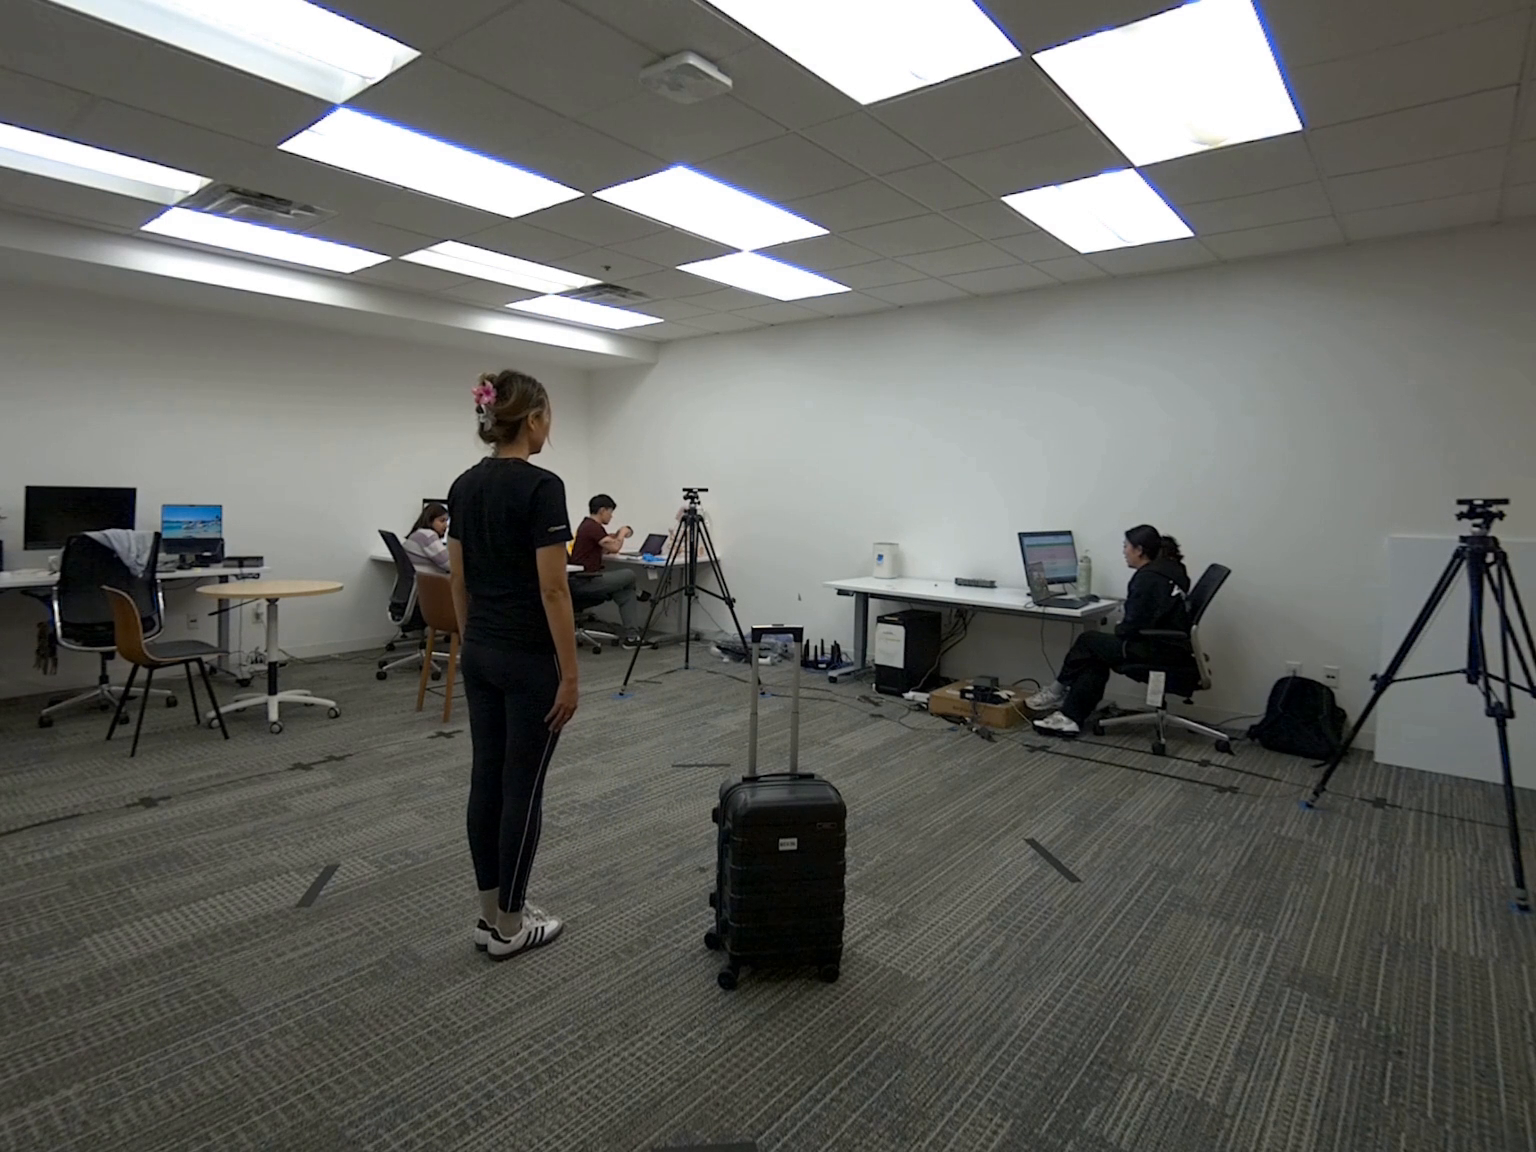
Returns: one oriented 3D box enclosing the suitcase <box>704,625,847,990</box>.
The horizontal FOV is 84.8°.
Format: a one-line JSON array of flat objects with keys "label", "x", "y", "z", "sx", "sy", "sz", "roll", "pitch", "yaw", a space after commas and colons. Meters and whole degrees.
[{"label": "suitcase", "x": 0.033, "y": 0.664, "z": 2.474, "sx": 0.380, "sy": 0.975, "sz": 0.261, "roll": 1, "pitch": 4, "yaw": -11}]
